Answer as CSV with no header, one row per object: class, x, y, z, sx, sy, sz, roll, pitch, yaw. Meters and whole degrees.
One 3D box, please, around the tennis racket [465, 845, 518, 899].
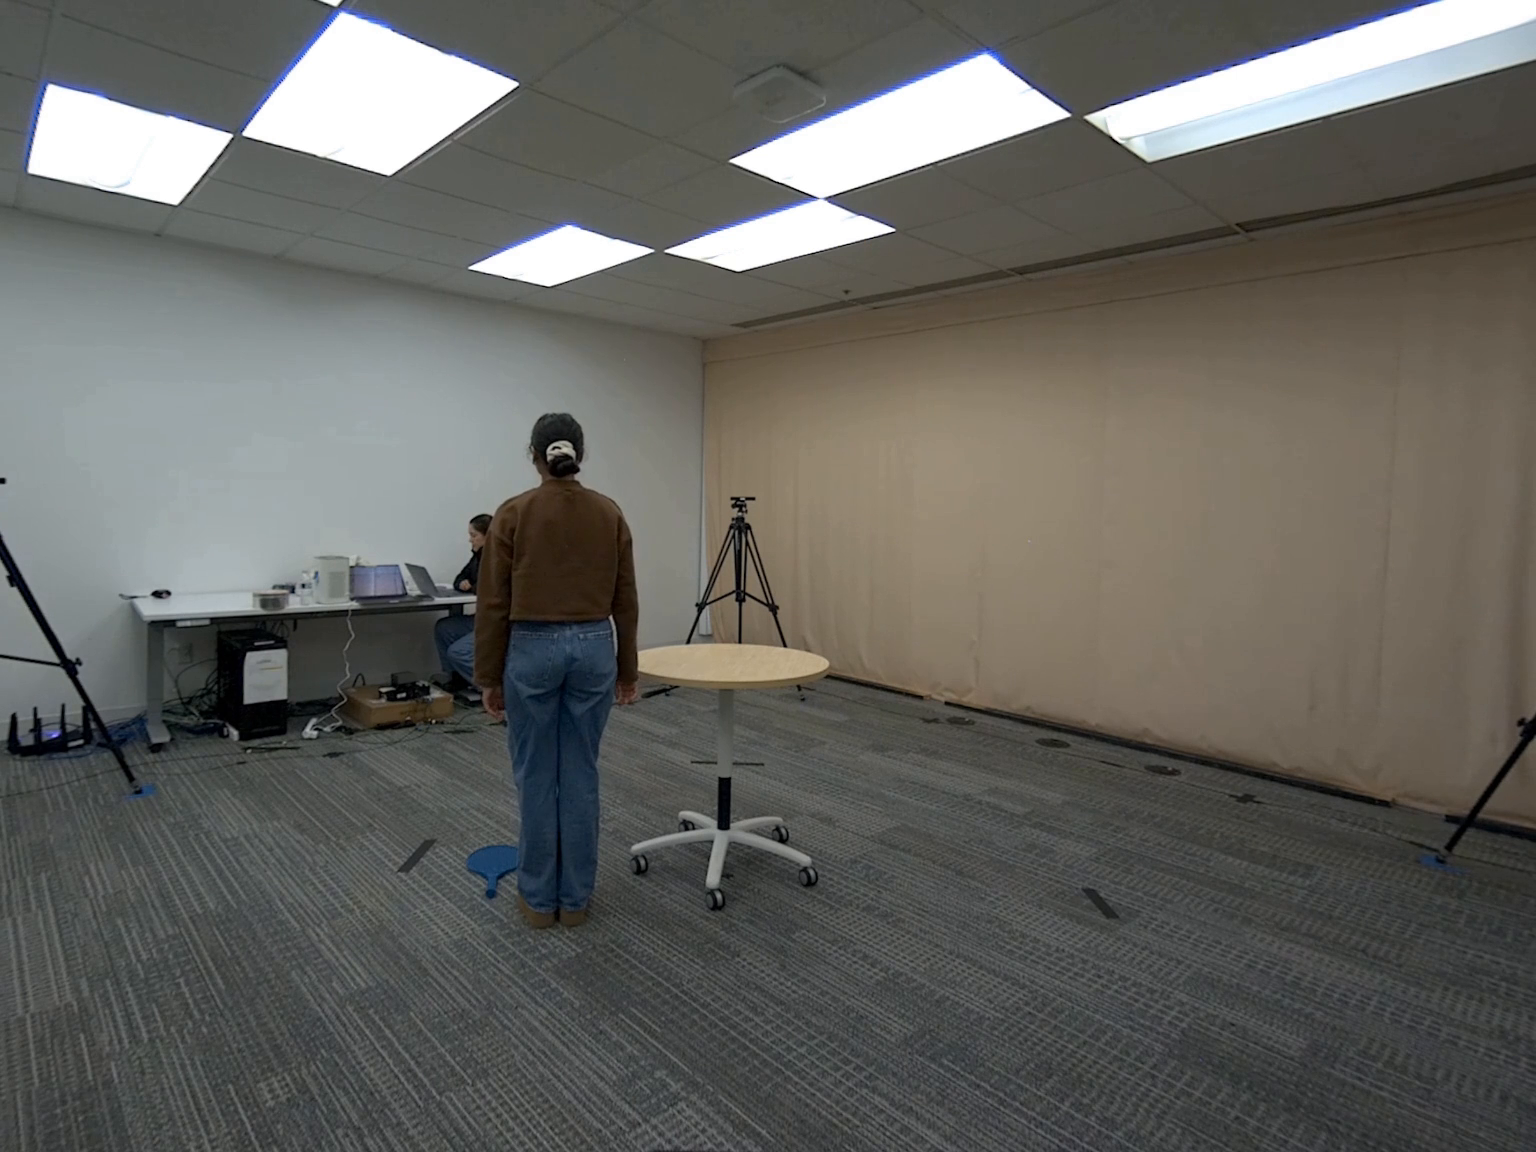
tennis racket,-1.003,1.069,3.098,0.211,0.032,0.439,-1,4,-16
